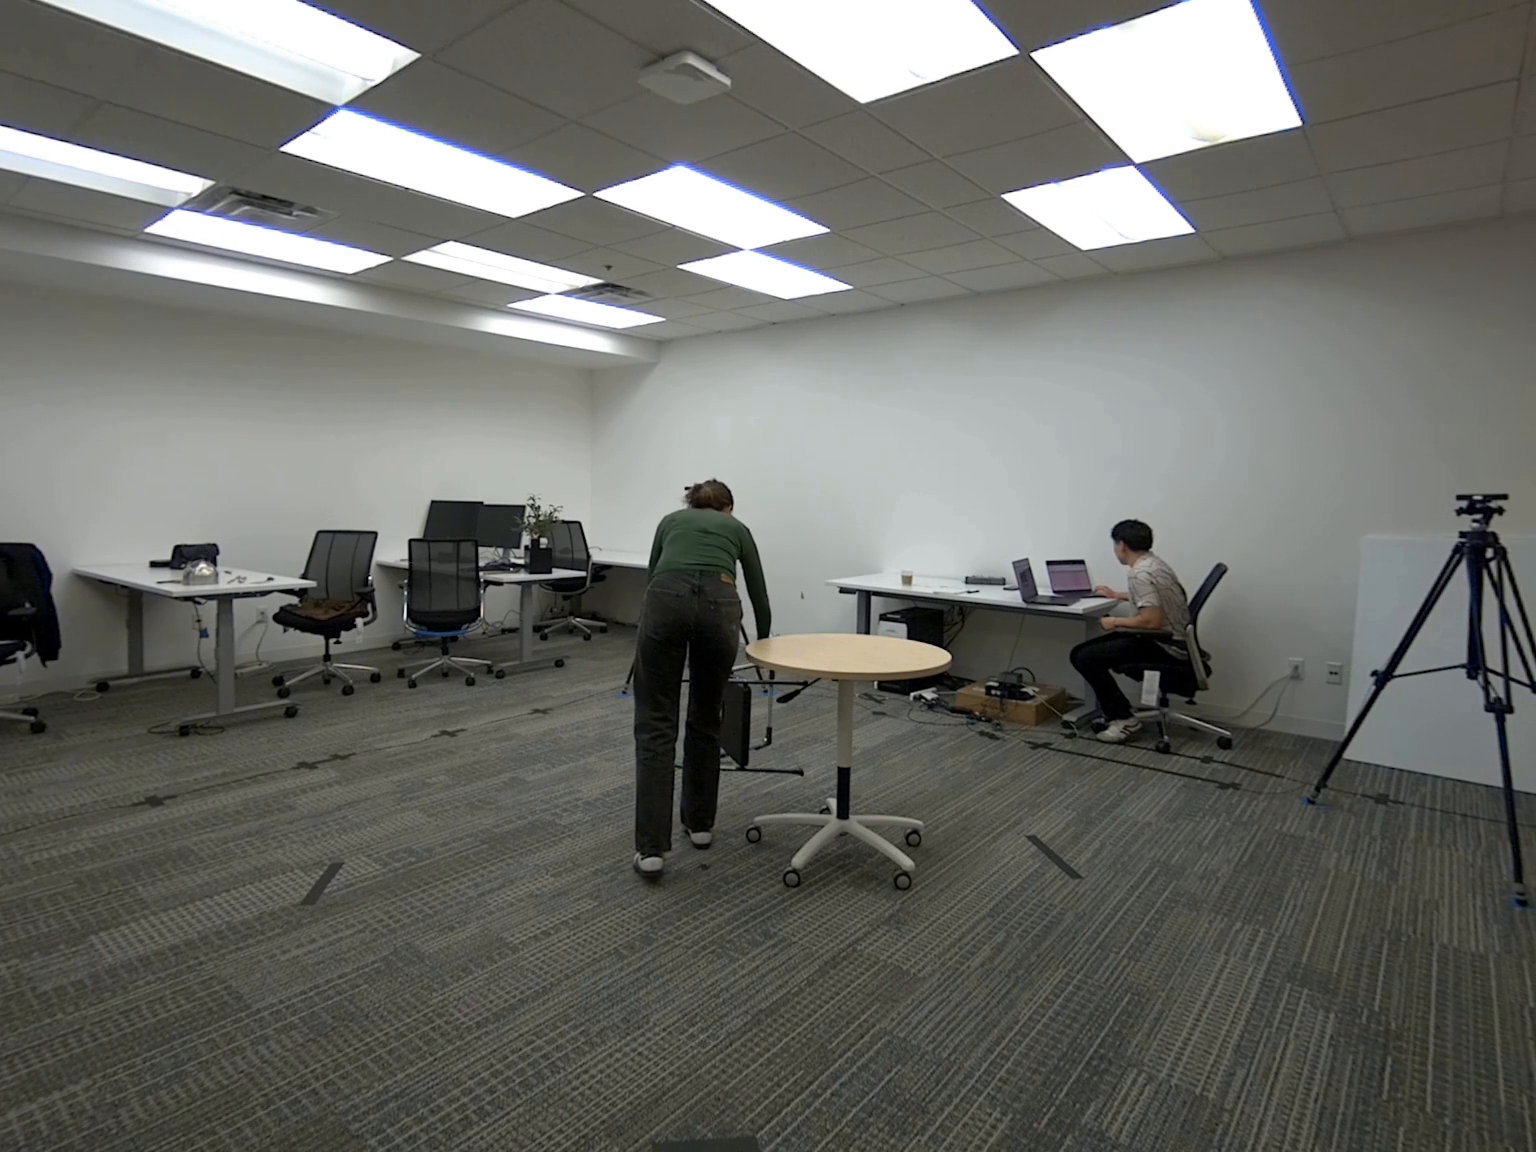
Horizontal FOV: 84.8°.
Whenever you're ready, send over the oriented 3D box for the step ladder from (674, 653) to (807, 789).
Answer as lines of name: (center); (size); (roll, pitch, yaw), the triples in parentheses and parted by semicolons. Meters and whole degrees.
step ladder: (-0.199, 0.612, 3.661); (0.593, 0.427, 0.360); (-1, 10, -22)
